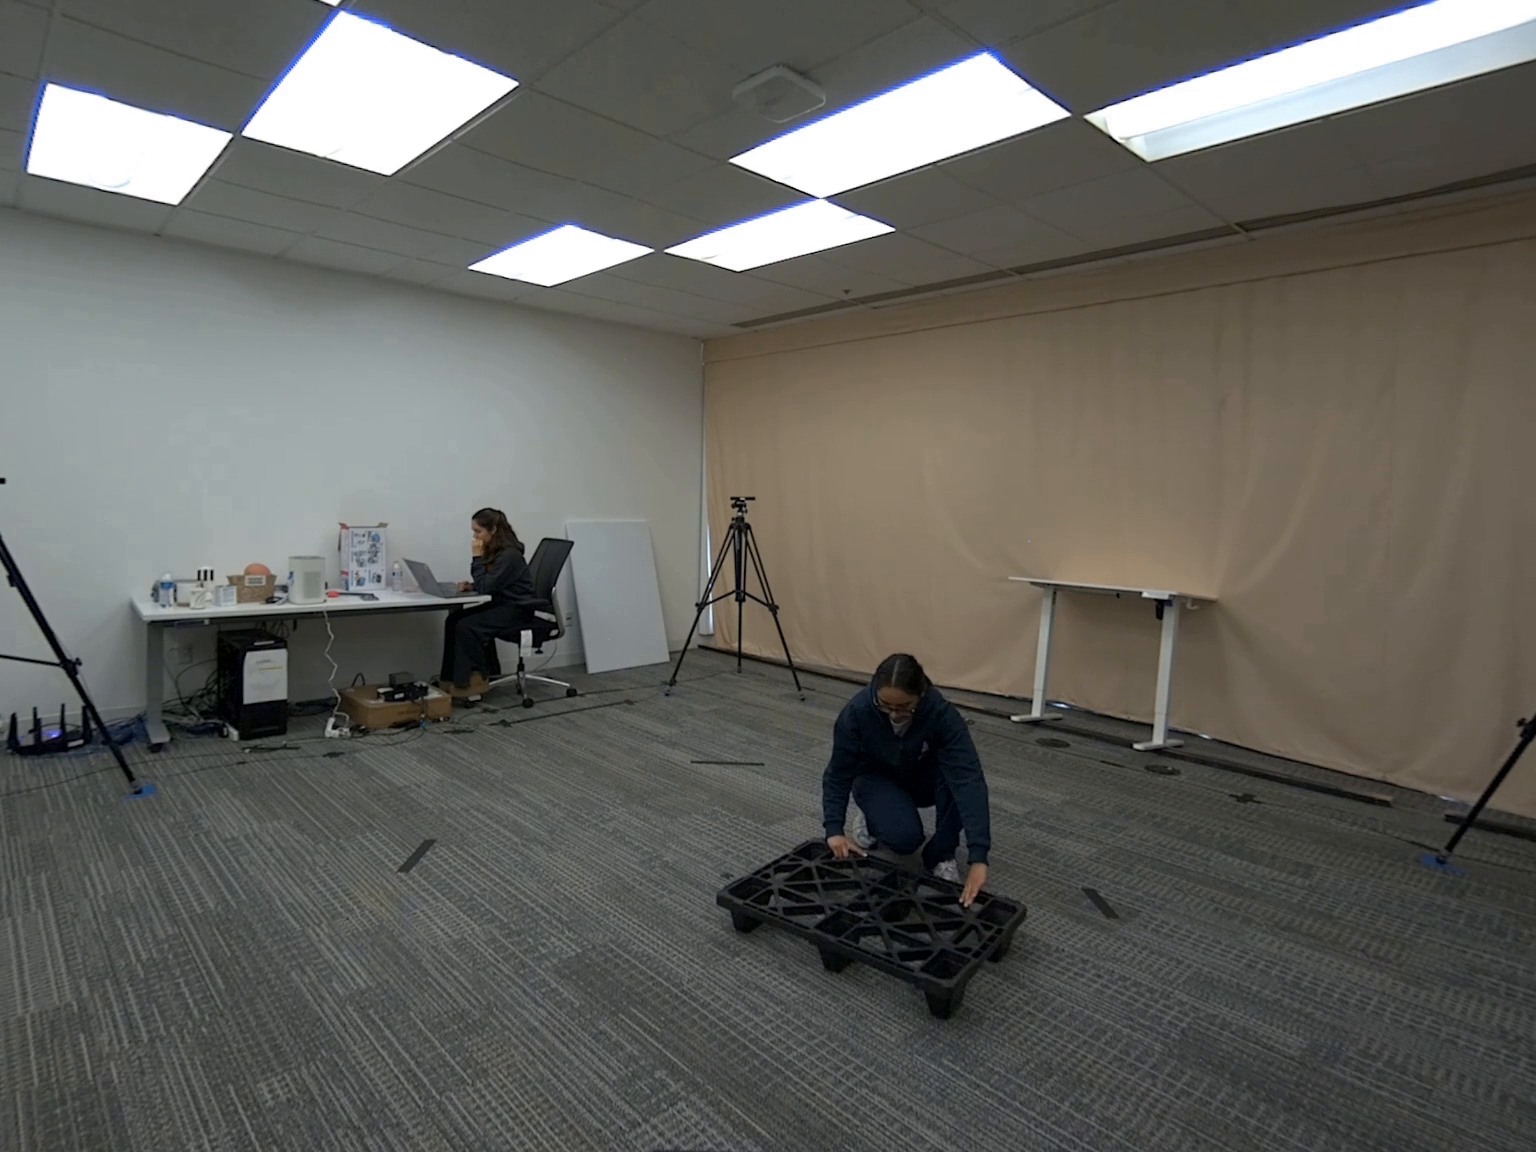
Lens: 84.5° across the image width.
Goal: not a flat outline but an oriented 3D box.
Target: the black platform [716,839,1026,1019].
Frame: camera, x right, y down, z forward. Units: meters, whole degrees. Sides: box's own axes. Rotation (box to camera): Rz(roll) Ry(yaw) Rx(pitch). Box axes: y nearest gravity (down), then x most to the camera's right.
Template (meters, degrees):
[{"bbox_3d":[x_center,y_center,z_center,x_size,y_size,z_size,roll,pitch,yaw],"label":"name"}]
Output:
[{"bbox_3d":[0.314,1.086,2.678,0.825,0.143,0.592,6,7,36],"label":"black platform"}]
